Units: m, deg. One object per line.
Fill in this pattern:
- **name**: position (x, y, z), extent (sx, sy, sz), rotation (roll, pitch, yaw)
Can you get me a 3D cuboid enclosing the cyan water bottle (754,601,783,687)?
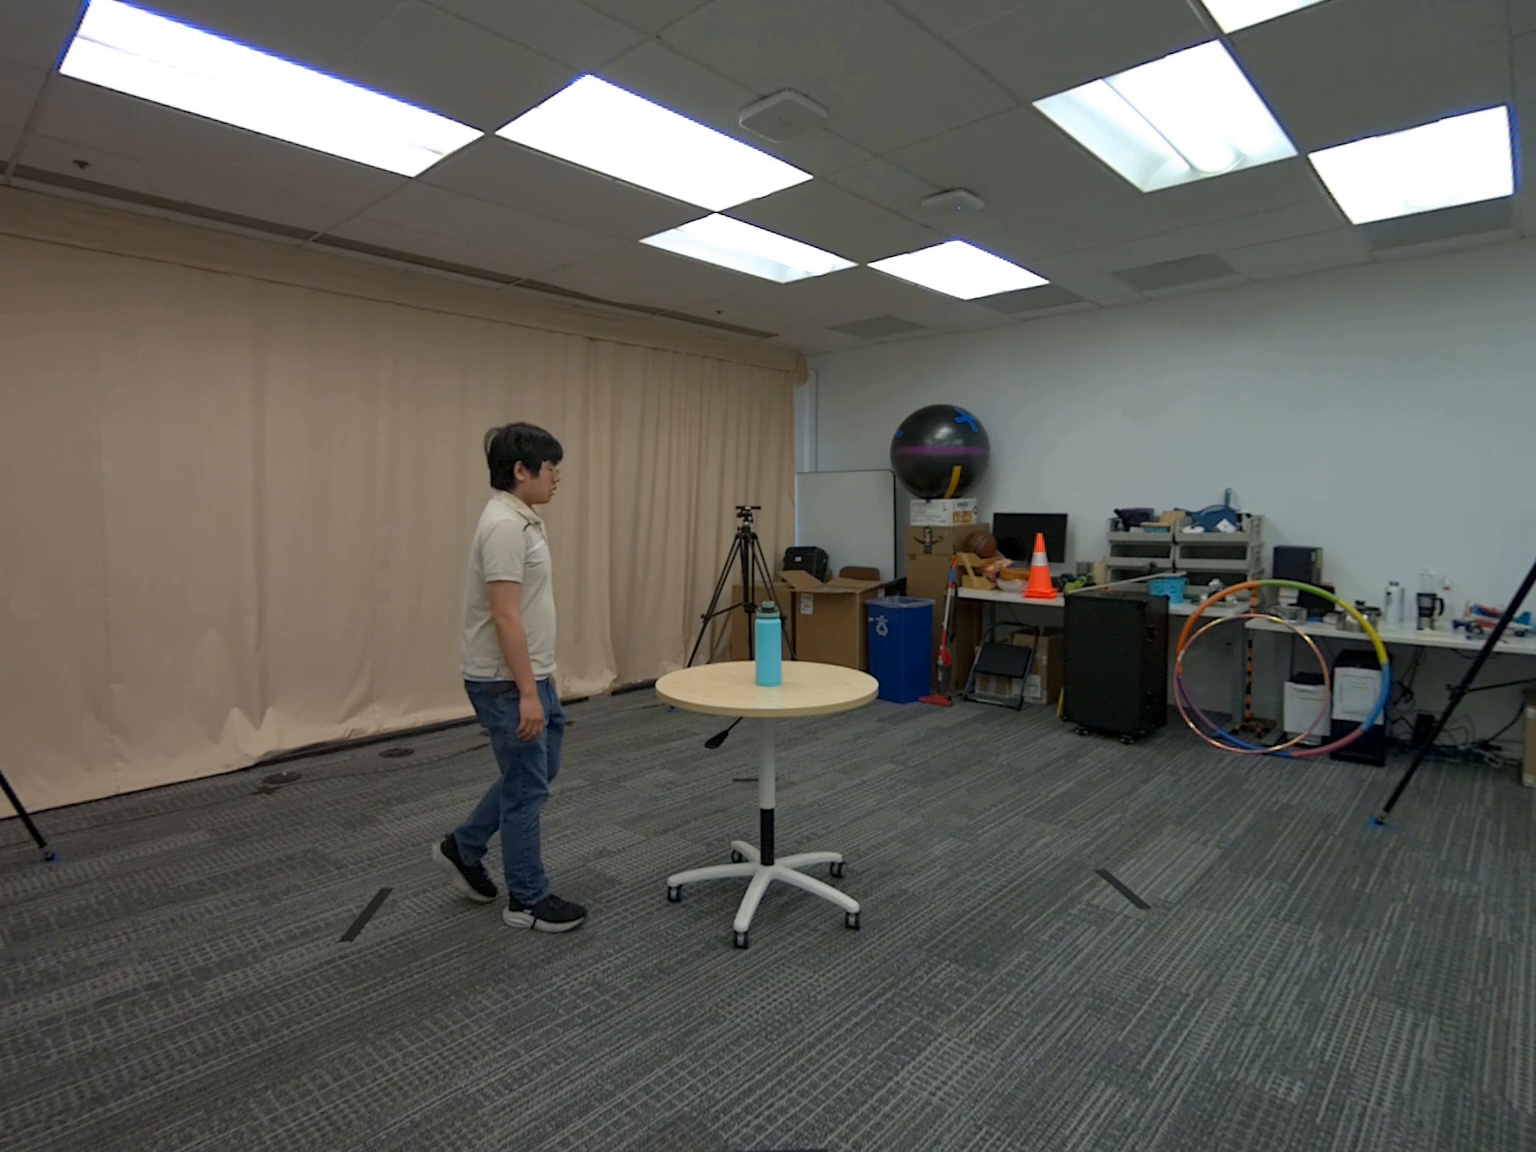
- **cyan water bottle**: position (0.004, 0.230, 2.874), extent (0.092, 0.283, 0.092), rotation (-2, 1, -2)
